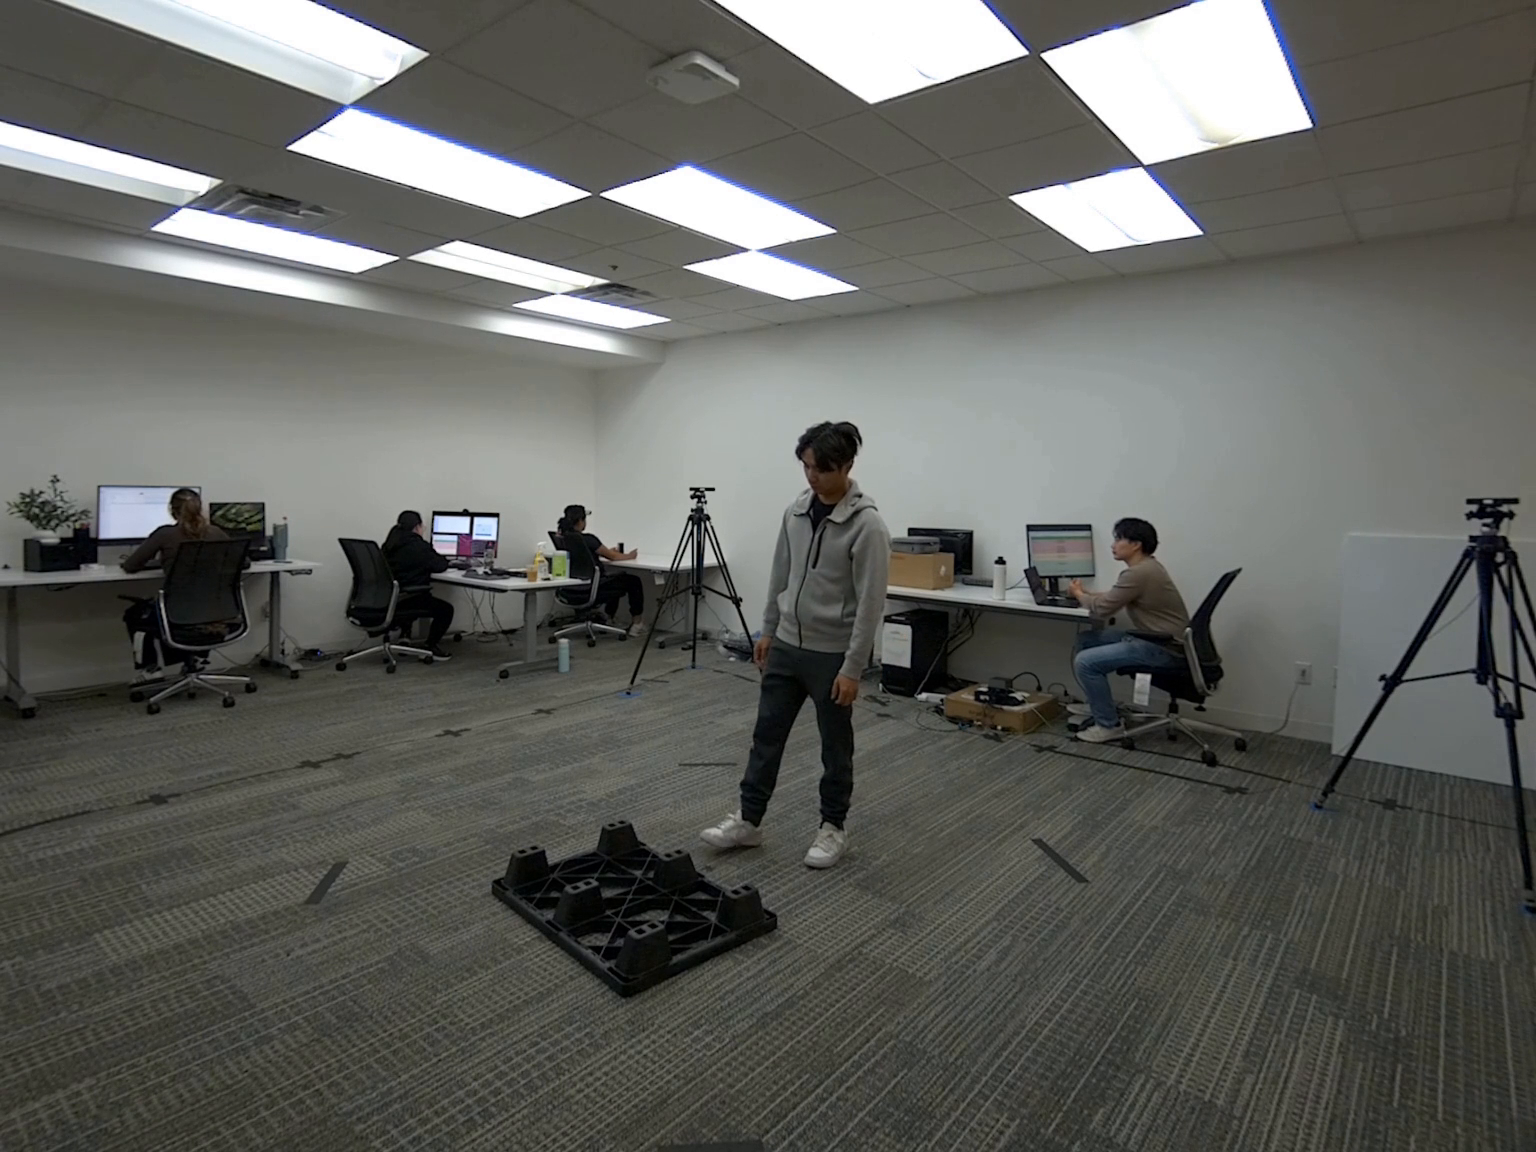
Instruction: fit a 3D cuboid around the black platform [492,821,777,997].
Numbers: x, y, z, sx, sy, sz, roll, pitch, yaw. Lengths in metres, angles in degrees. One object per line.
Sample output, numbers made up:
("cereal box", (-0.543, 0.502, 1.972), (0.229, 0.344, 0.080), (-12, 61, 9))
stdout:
("black platform", (-0.470, 1.028, 2.791), (0.587, 0.143, 0.833), (-4, 7, -44))
